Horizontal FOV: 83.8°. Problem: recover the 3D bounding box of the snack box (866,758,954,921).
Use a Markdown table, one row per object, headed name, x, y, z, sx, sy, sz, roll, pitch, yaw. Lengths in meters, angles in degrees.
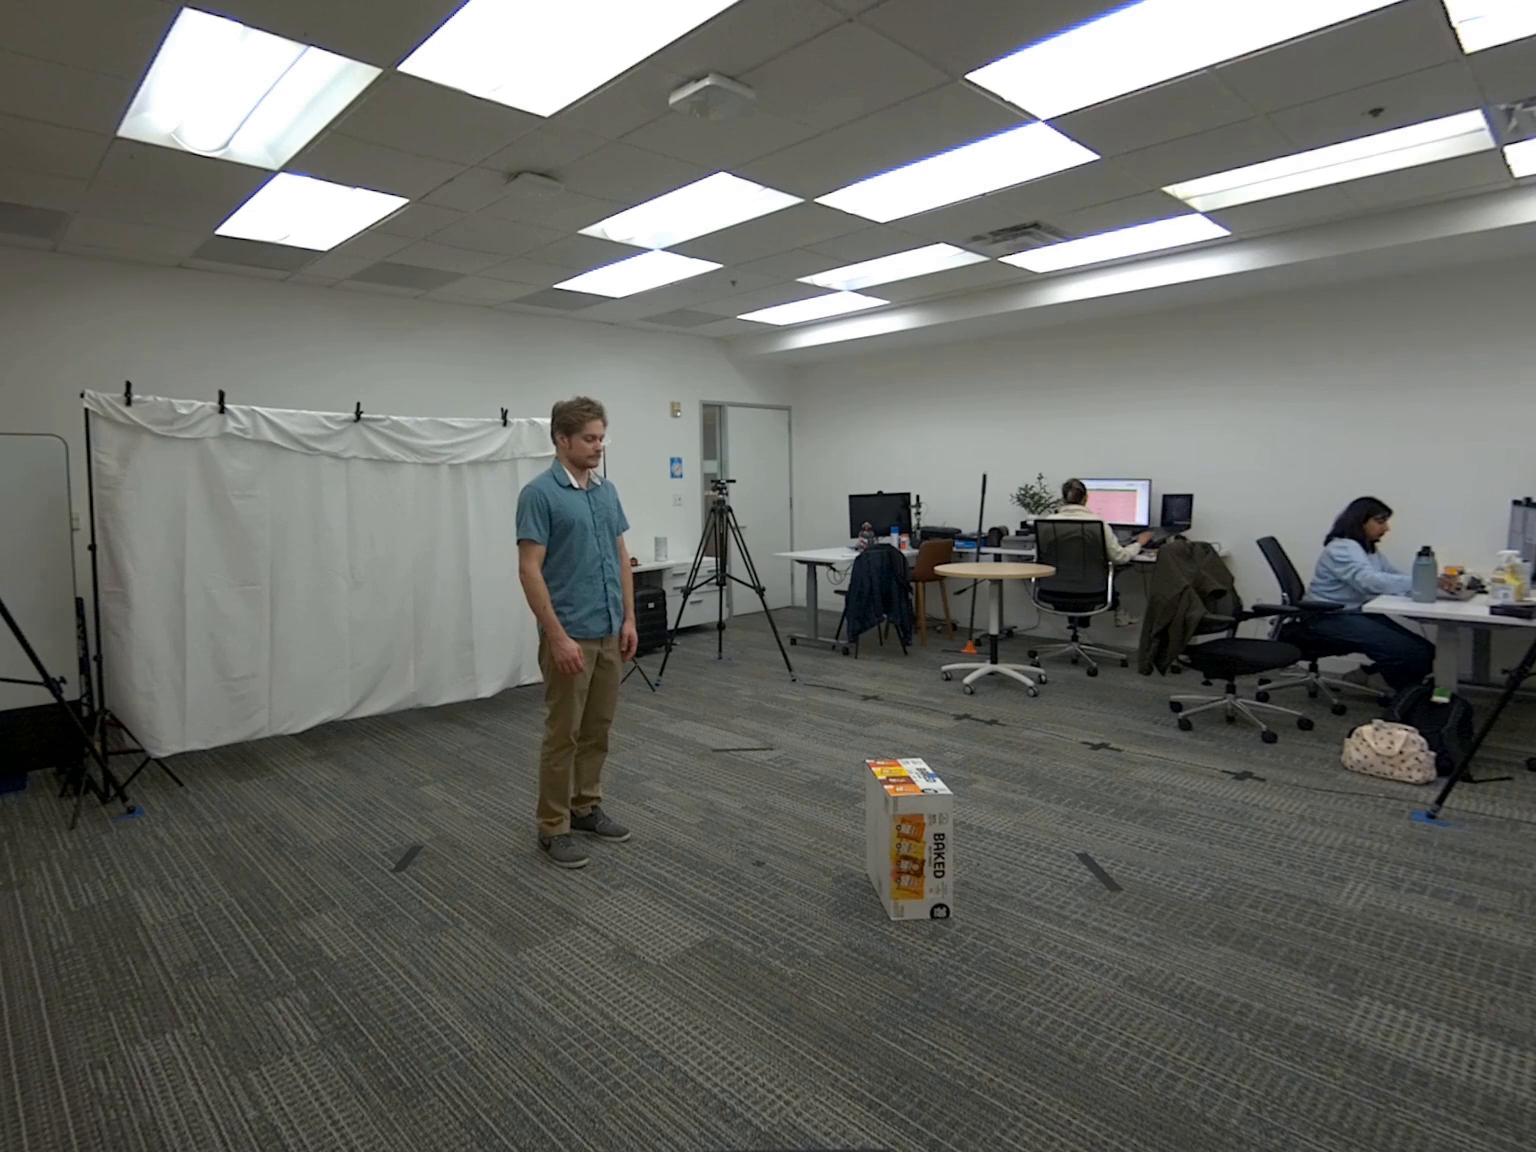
| name | x | y | z | sx | sy | sz | roll | pitch | yaw |
| --- | --- | --- | --- | --- | --- | --- | --- | --- | --- |
| snack box | 0.465 | 0.867 | 2.845 | 0.205 | 0.403 | 0.343 | -1 | 5 | -4 |
